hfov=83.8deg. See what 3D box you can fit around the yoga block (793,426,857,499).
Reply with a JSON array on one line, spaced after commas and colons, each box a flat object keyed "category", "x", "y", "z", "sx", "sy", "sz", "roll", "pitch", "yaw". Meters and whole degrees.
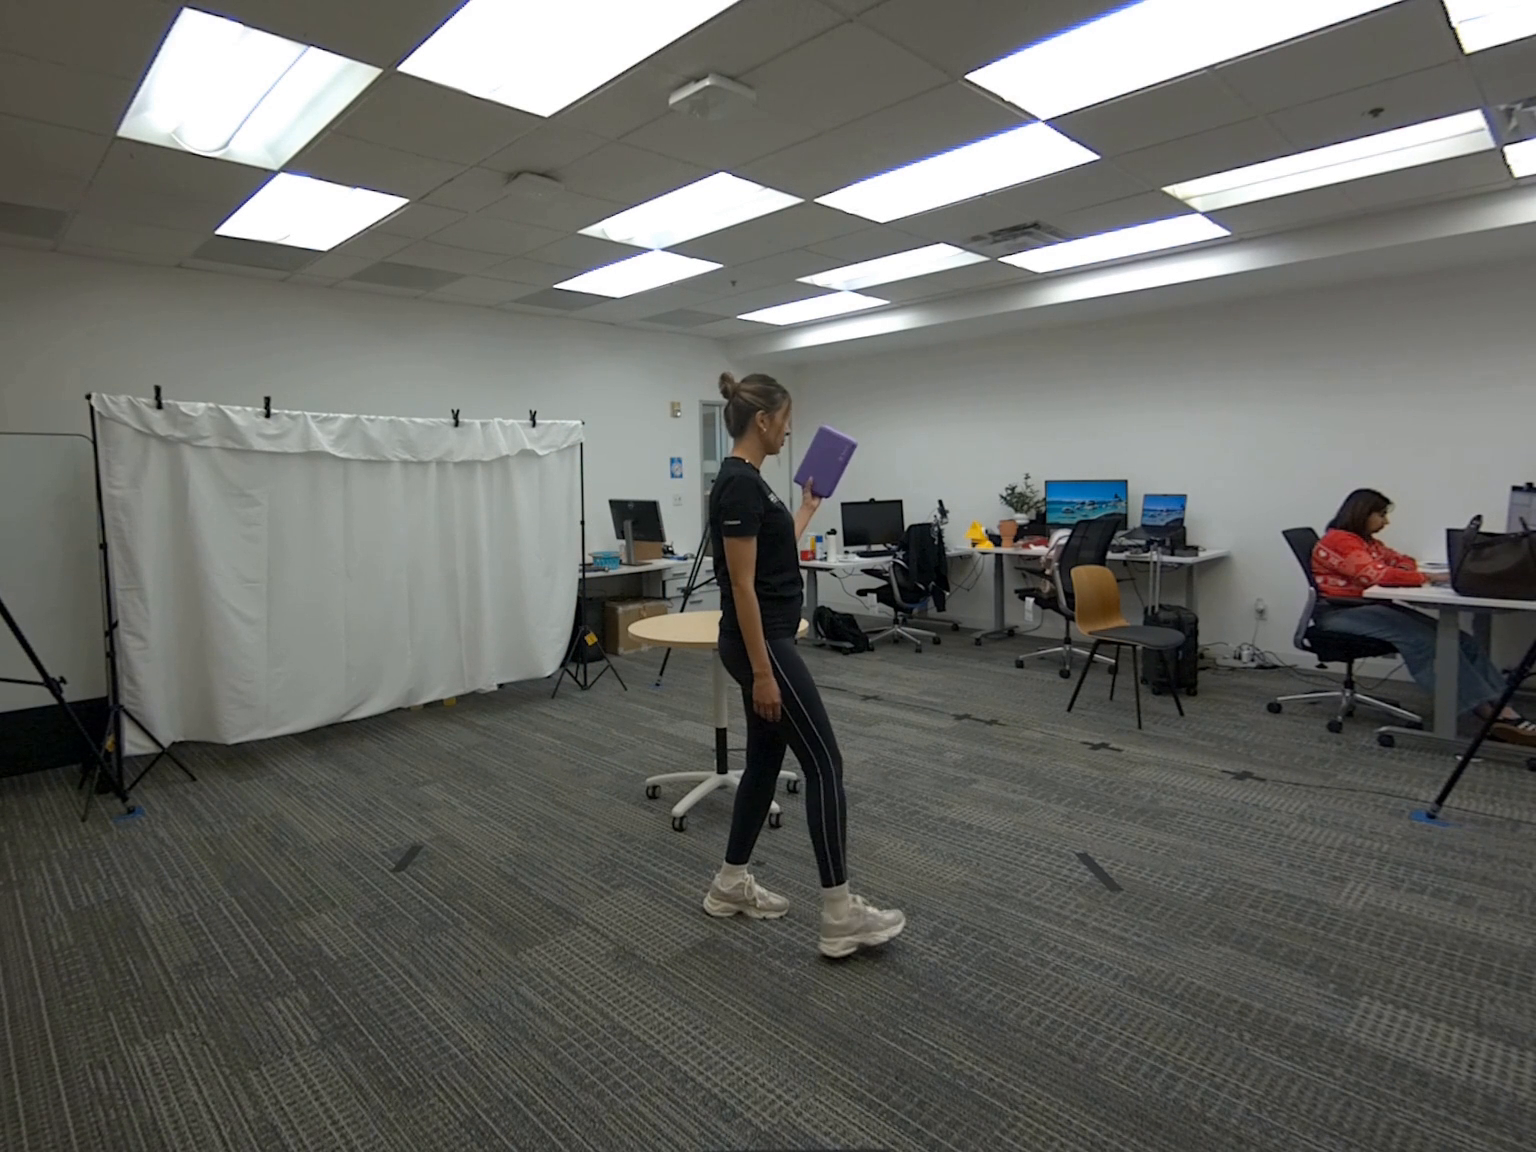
[{"category": "yoga block", "x": 0.204, "y": -0.415, "z": 3.095, "sx": 0.150, "sy": 0.228, "sz": 0.076, "roll": 27, "pitch": 13, "yaw": 7}]
